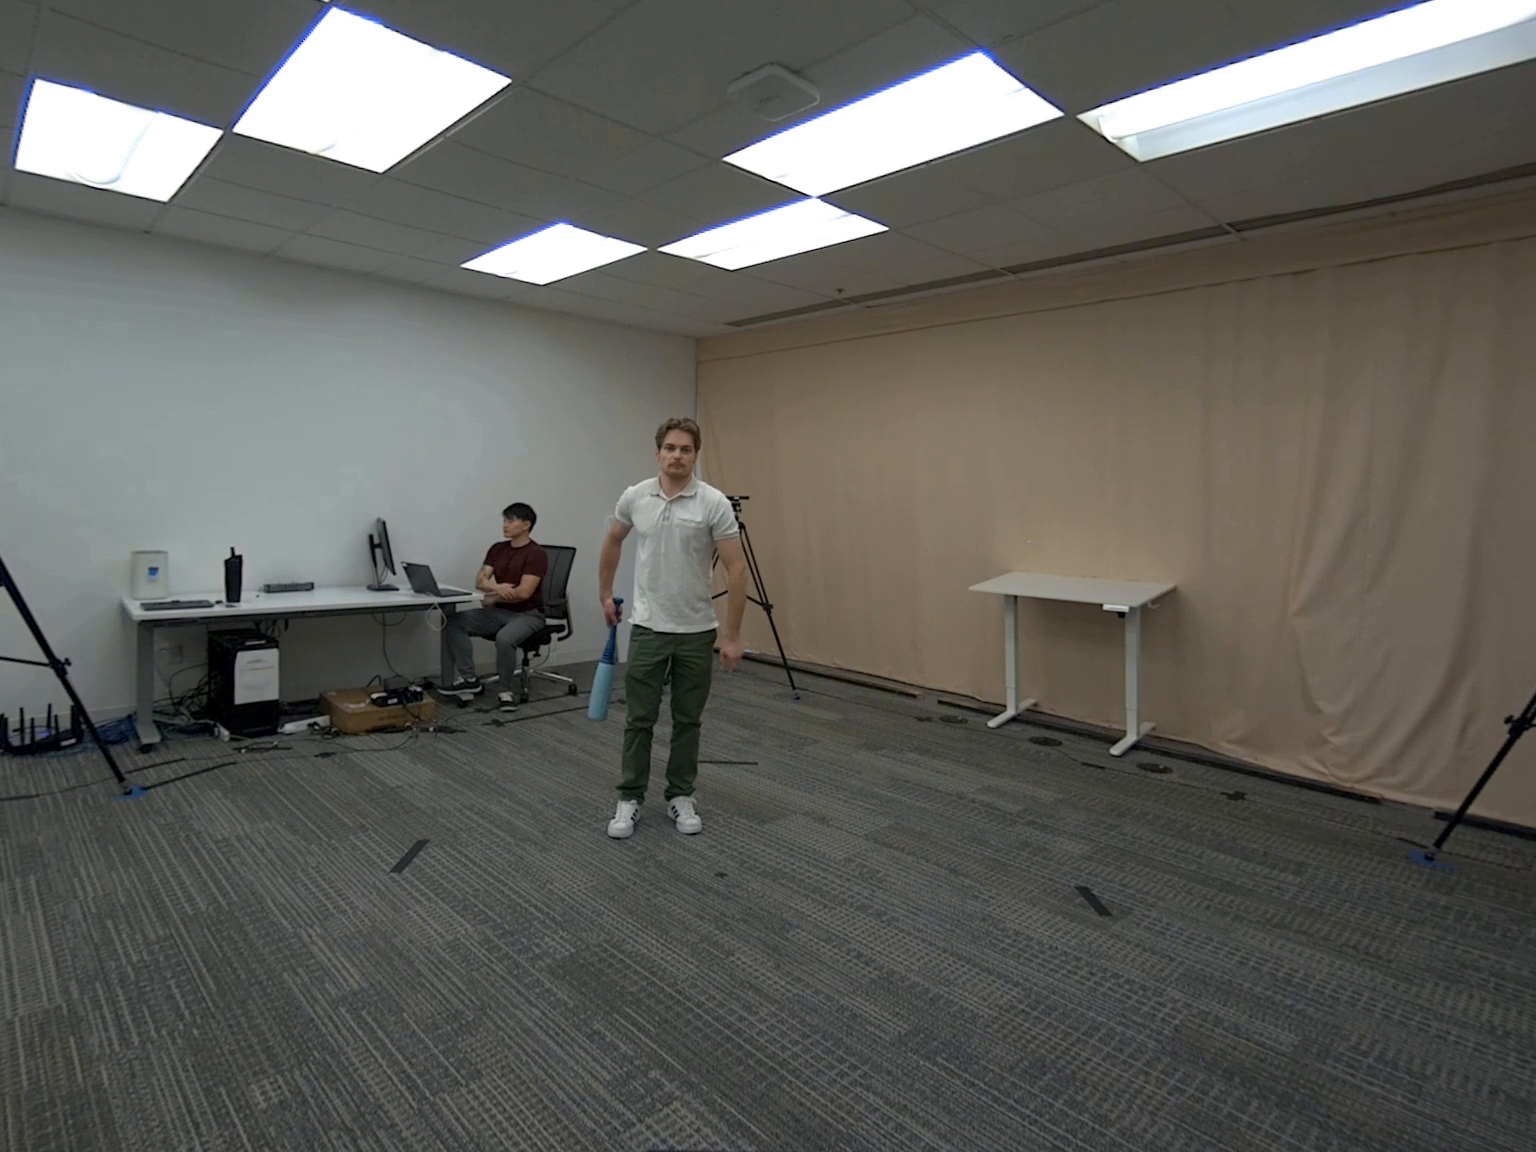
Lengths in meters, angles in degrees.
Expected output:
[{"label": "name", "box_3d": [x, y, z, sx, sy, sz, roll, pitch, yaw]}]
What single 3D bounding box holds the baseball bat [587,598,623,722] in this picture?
[{"label": "baseball bat", "box_3d": [-0.693, 0.359, 3.693, 0.089, 0.545, 0.089, 11, -6, 0]}]
